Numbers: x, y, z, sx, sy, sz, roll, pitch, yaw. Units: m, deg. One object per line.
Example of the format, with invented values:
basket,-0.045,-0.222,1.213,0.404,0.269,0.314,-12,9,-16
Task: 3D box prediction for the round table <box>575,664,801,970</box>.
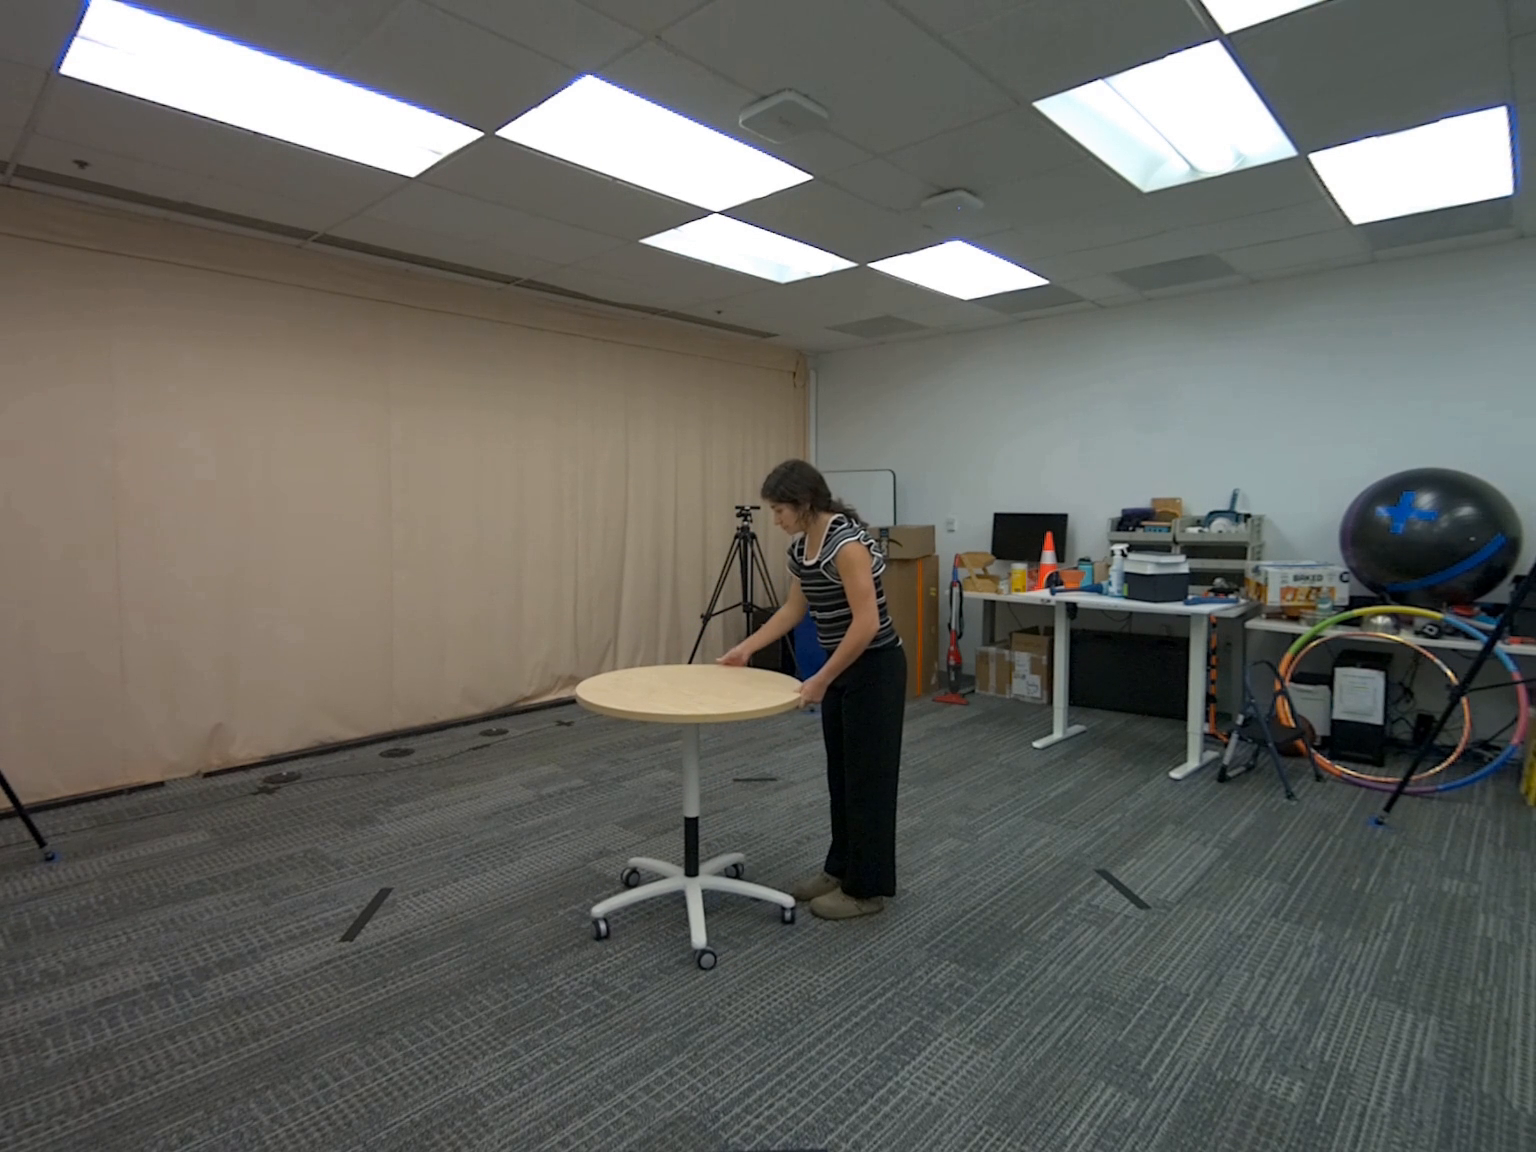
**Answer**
round table,-0.260,0.766,2.837,0.784,0.785,0.788,0,3,-2
